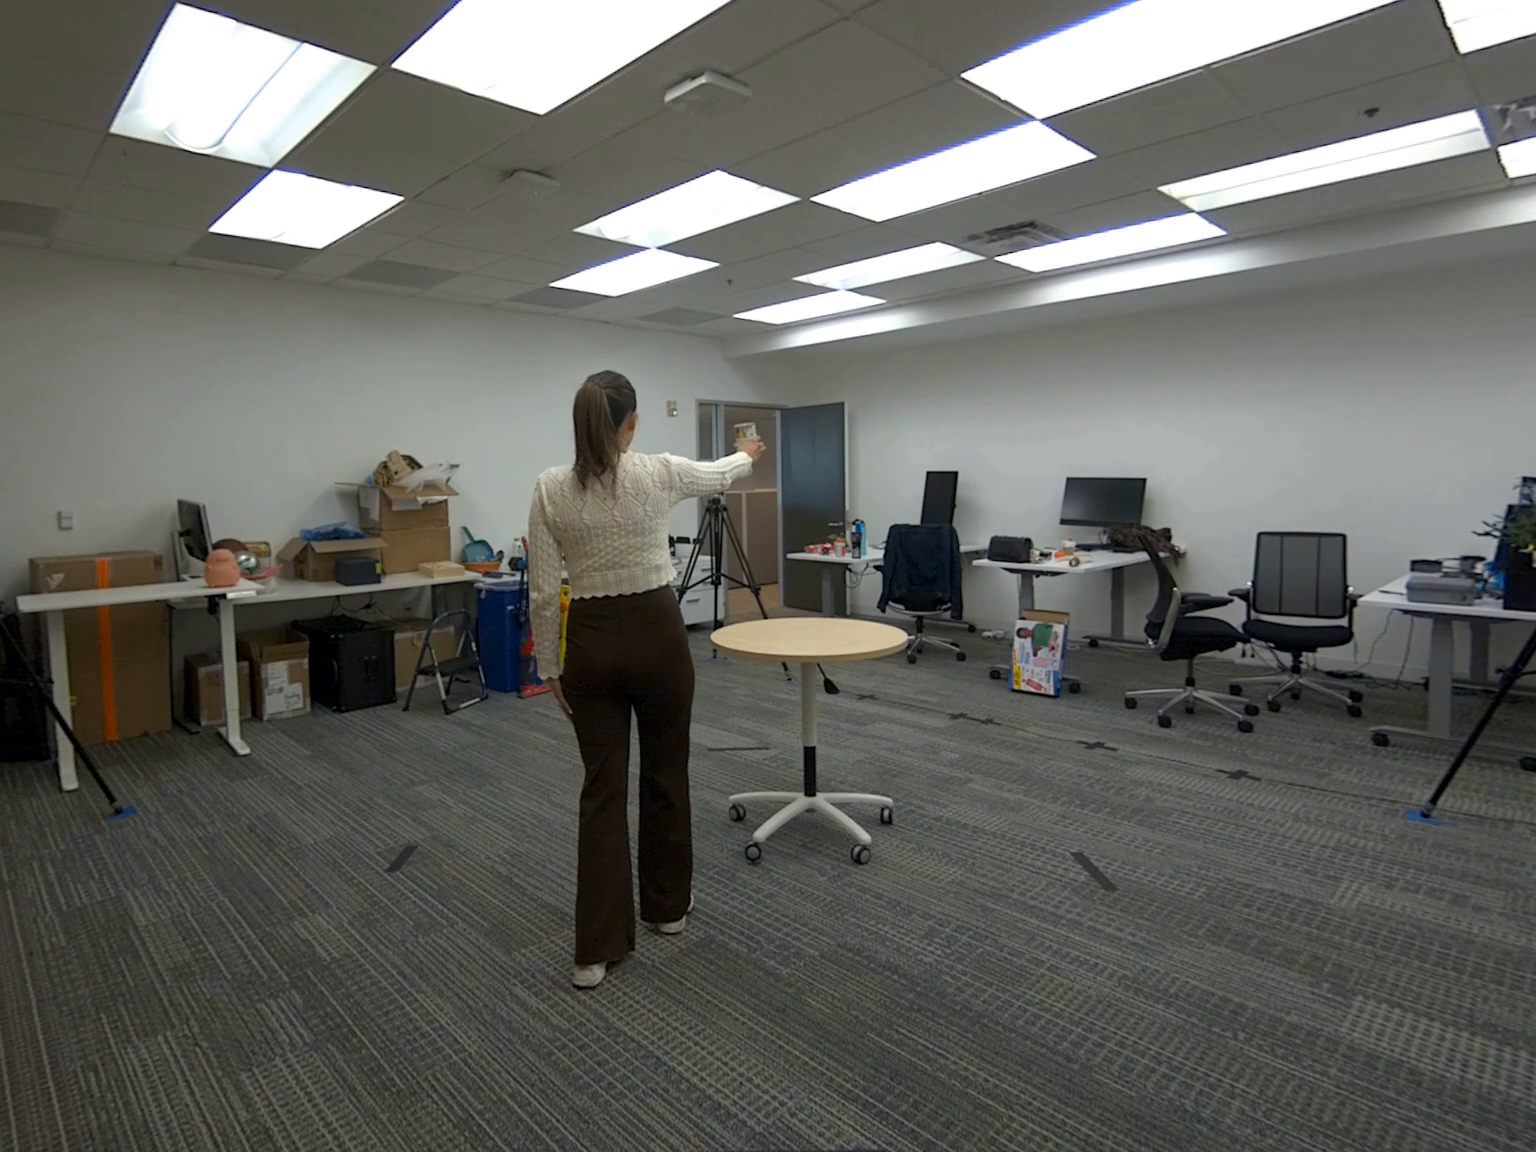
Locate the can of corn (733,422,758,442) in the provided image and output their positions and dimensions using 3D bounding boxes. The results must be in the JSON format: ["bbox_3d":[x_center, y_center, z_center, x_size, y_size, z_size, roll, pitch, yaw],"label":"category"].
[{"bbox_3d":[-0.080,-0.486,3.050,0.074,0.109,0.075,-8,15,0],"label":"can of corn"}]
